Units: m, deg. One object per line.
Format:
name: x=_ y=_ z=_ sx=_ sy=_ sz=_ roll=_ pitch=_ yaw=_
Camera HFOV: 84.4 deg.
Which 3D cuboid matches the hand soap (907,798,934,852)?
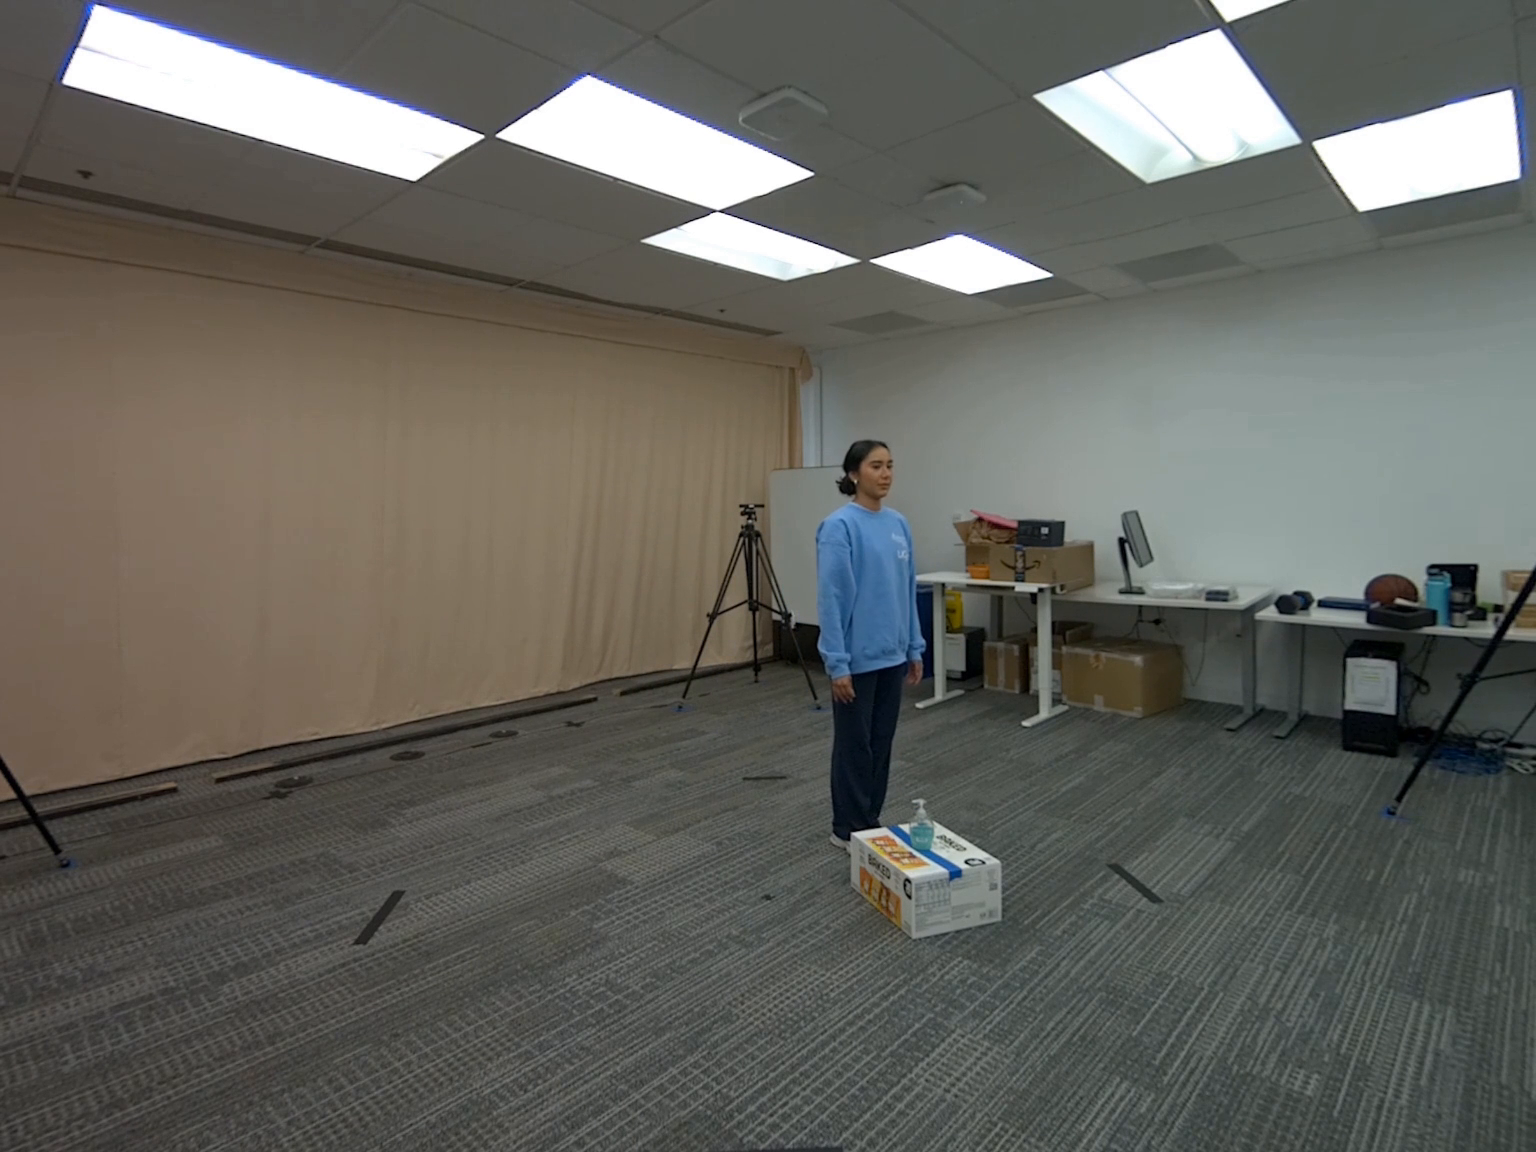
hand soap: x=0.531 y=0.853 z=2.910 sx=0.085 sy=0.167 sz=0.043 roll=-1 pitch=5 yaw=8
